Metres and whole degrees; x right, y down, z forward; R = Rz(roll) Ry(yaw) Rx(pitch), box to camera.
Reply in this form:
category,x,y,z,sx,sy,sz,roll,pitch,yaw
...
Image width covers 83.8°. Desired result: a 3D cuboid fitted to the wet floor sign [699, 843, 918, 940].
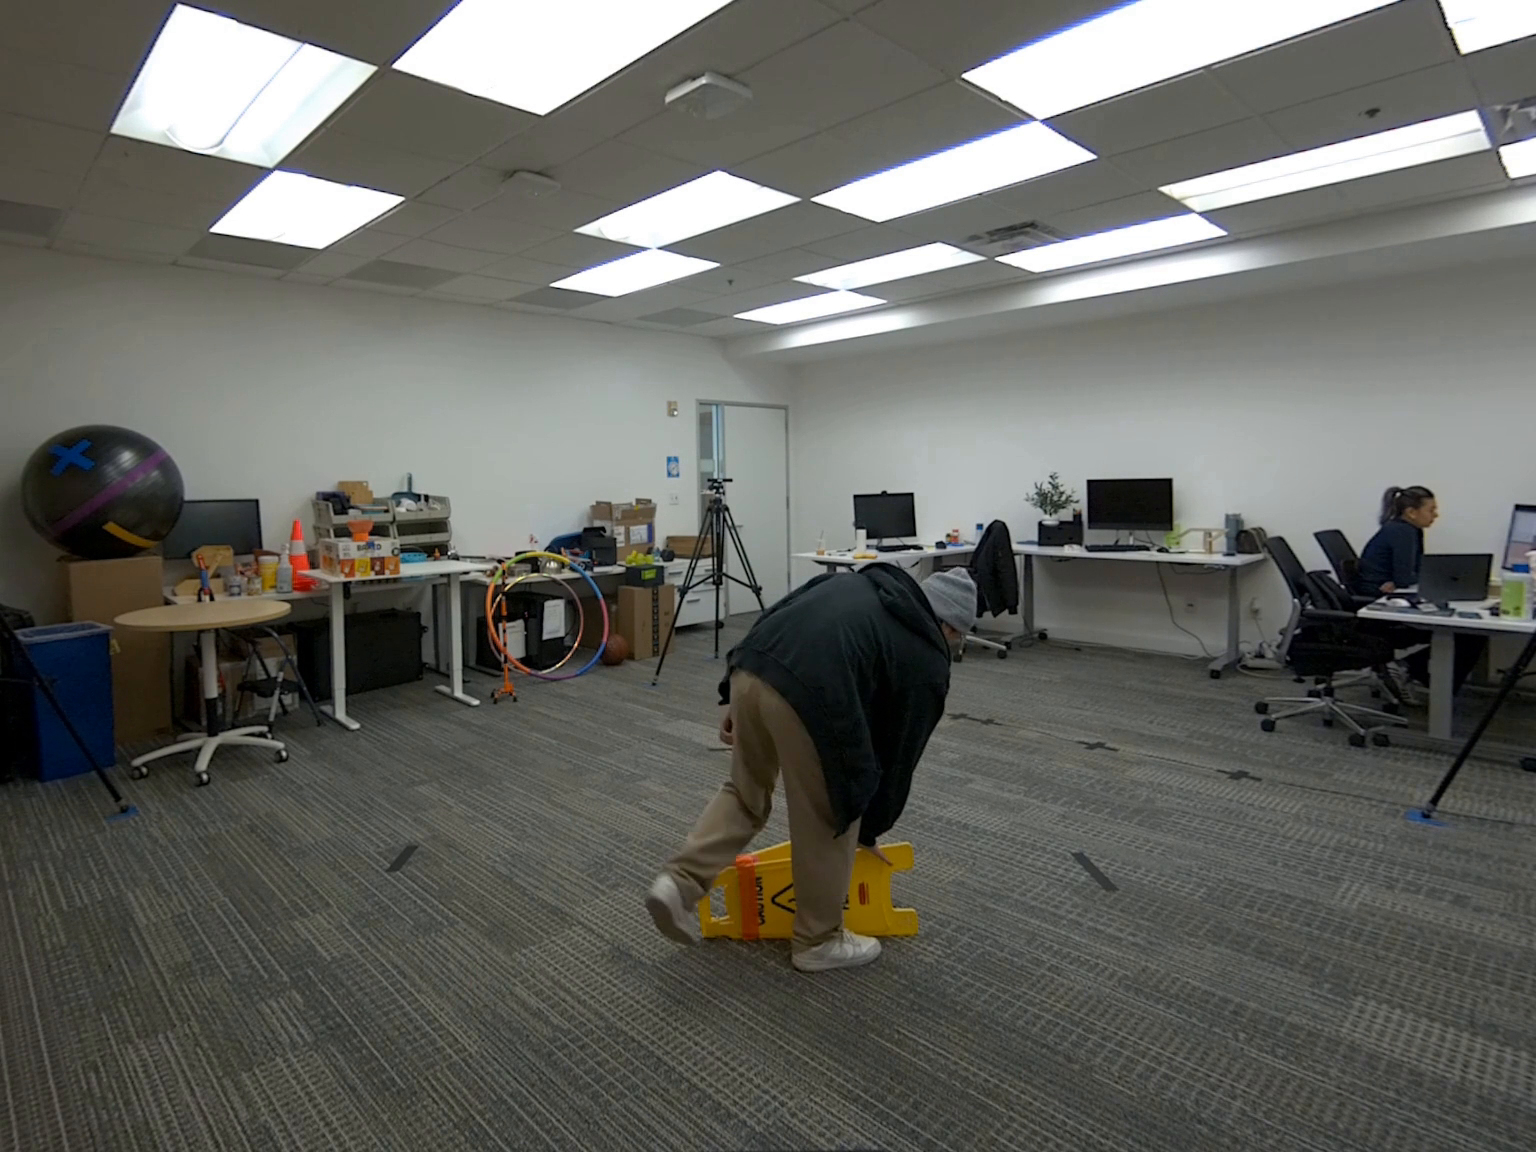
category,x,y,z,sx,sy,sz,roll,pitch,yaw
wet floor sign,0.111,0.968,2.650,0.640,0.281,0.294,-6,4,-11
